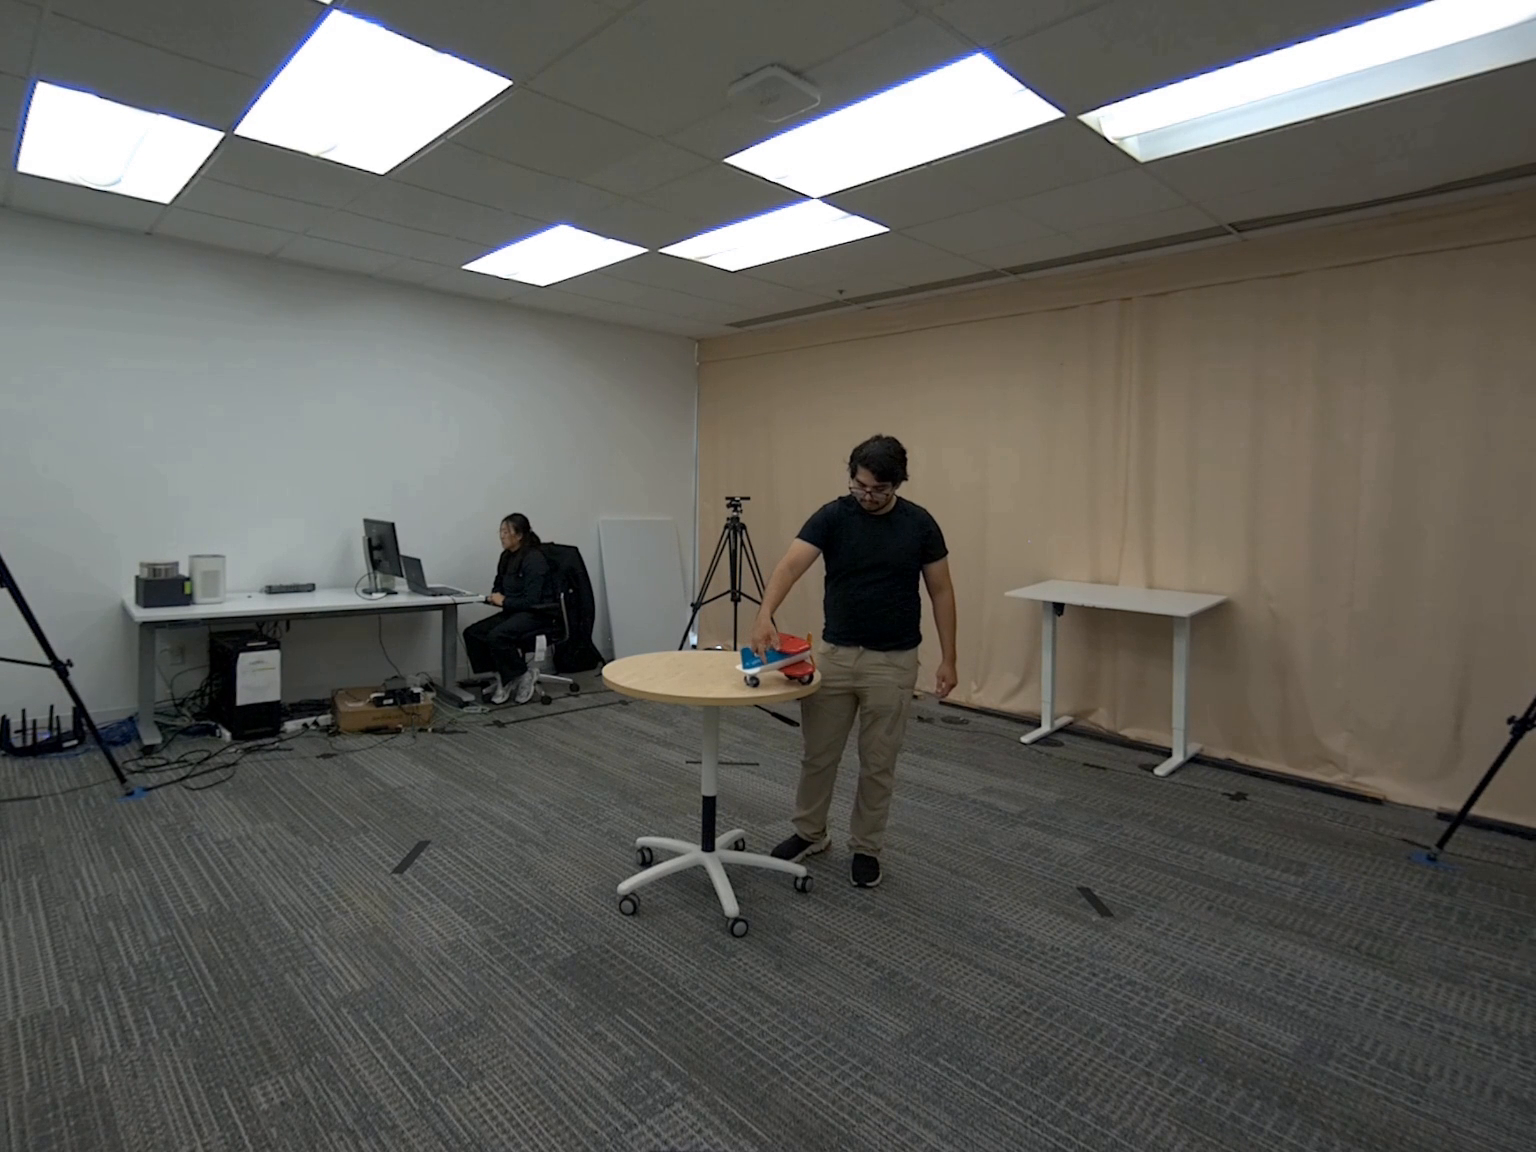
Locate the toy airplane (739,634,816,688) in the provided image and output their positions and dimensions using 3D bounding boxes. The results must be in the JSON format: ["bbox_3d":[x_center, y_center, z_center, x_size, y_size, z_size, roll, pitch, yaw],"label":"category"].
[{"bbox_3d":[0.035,0.282,2.763,0.257,0.156,0.253,5,4,36],"label":"toy airplane"}]
